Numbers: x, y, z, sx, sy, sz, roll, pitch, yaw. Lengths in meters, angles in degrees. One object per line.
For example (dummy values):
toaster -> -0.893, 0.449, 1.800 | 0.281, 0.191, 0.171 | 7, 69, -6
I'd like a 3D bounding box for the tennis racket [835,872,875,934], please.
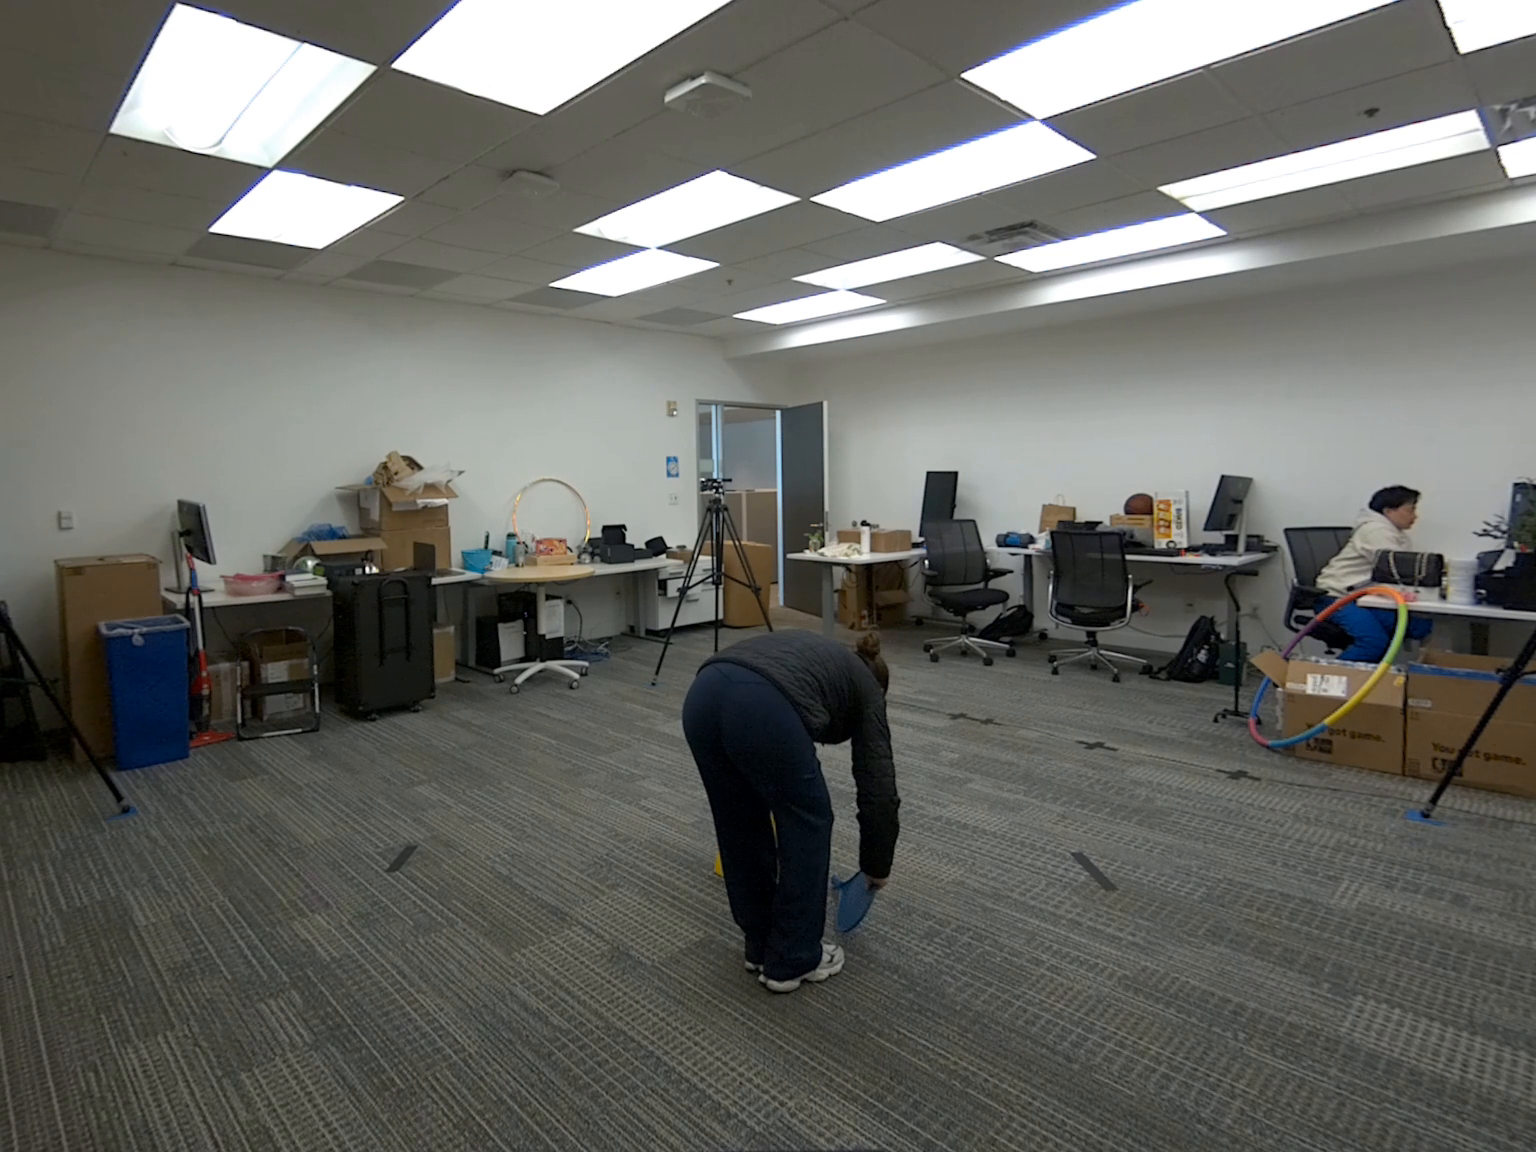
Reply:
tennis racket -> 0.256, 1.006, 2.722 | 0.032, 0.214, 0.430 | 32, -10, 0
